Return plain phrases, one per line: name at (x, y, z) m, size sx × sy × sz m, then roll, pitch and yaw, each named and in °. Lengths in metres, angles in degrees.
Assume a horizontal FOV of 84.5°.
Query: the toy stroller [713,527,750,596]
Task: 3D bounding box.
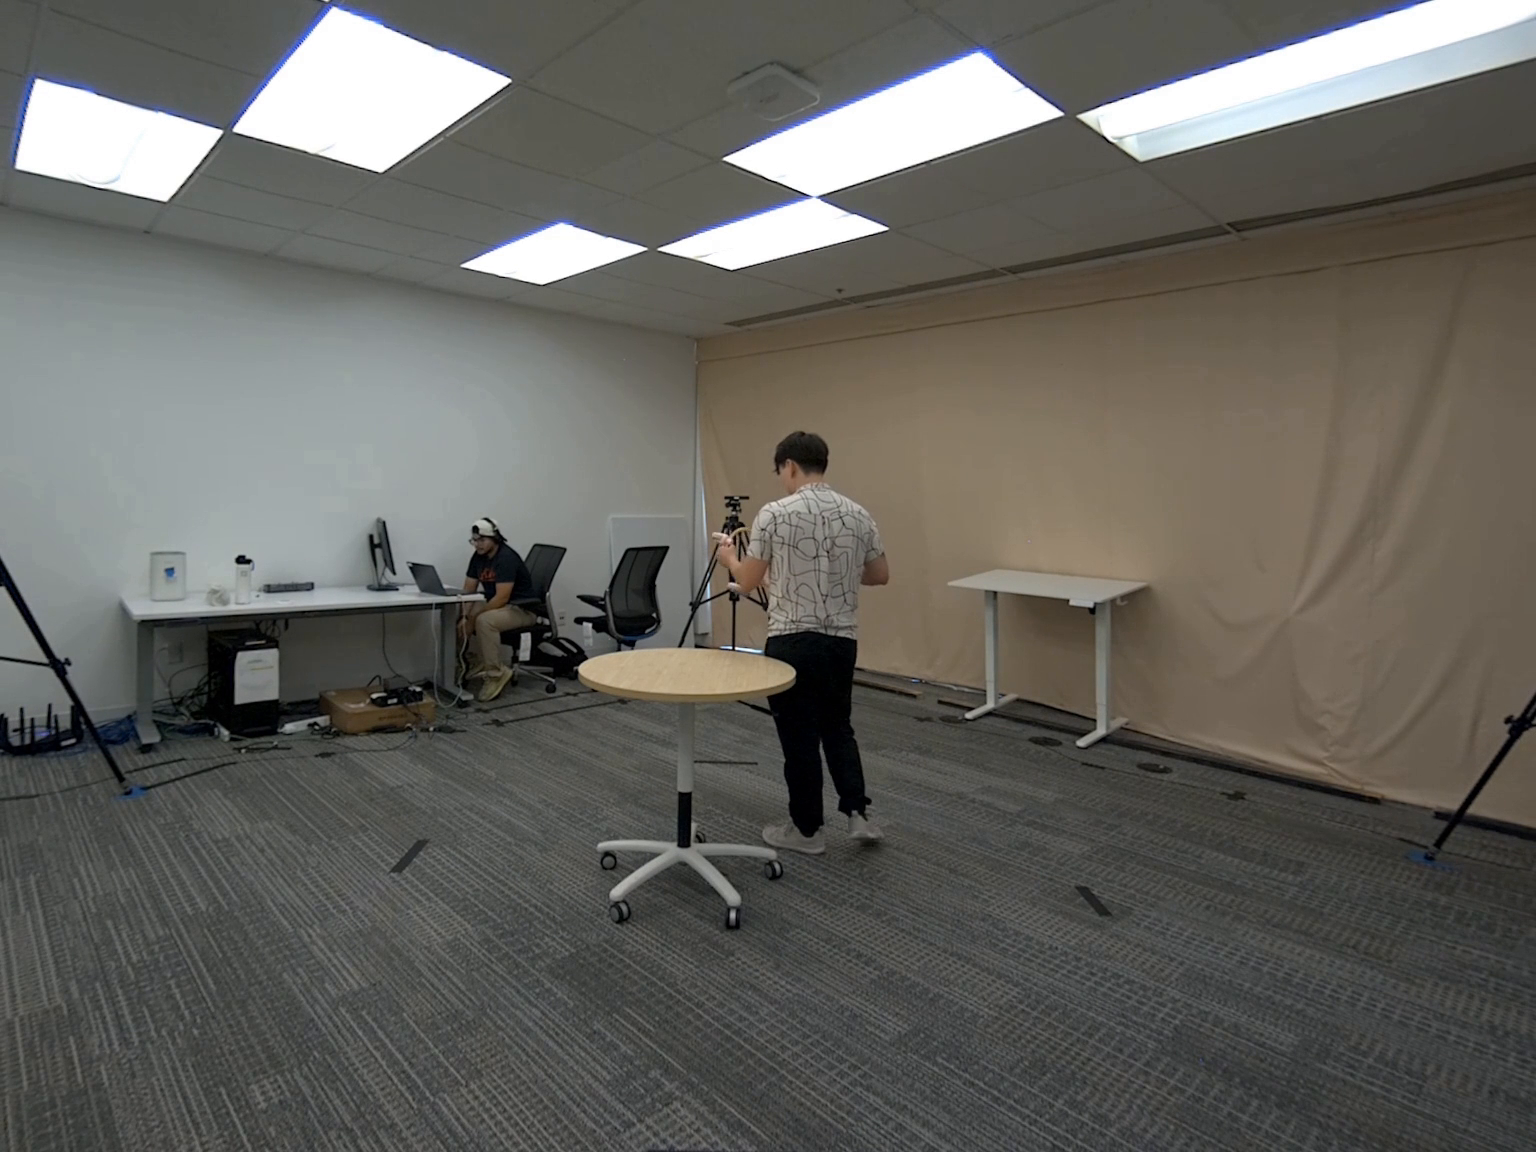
toy stroller at (0.029, -0.034, 3.606) m, size 0.547 × 0.282 × 0.332 m, roll 23°, pitch -16°, yaw 24°
